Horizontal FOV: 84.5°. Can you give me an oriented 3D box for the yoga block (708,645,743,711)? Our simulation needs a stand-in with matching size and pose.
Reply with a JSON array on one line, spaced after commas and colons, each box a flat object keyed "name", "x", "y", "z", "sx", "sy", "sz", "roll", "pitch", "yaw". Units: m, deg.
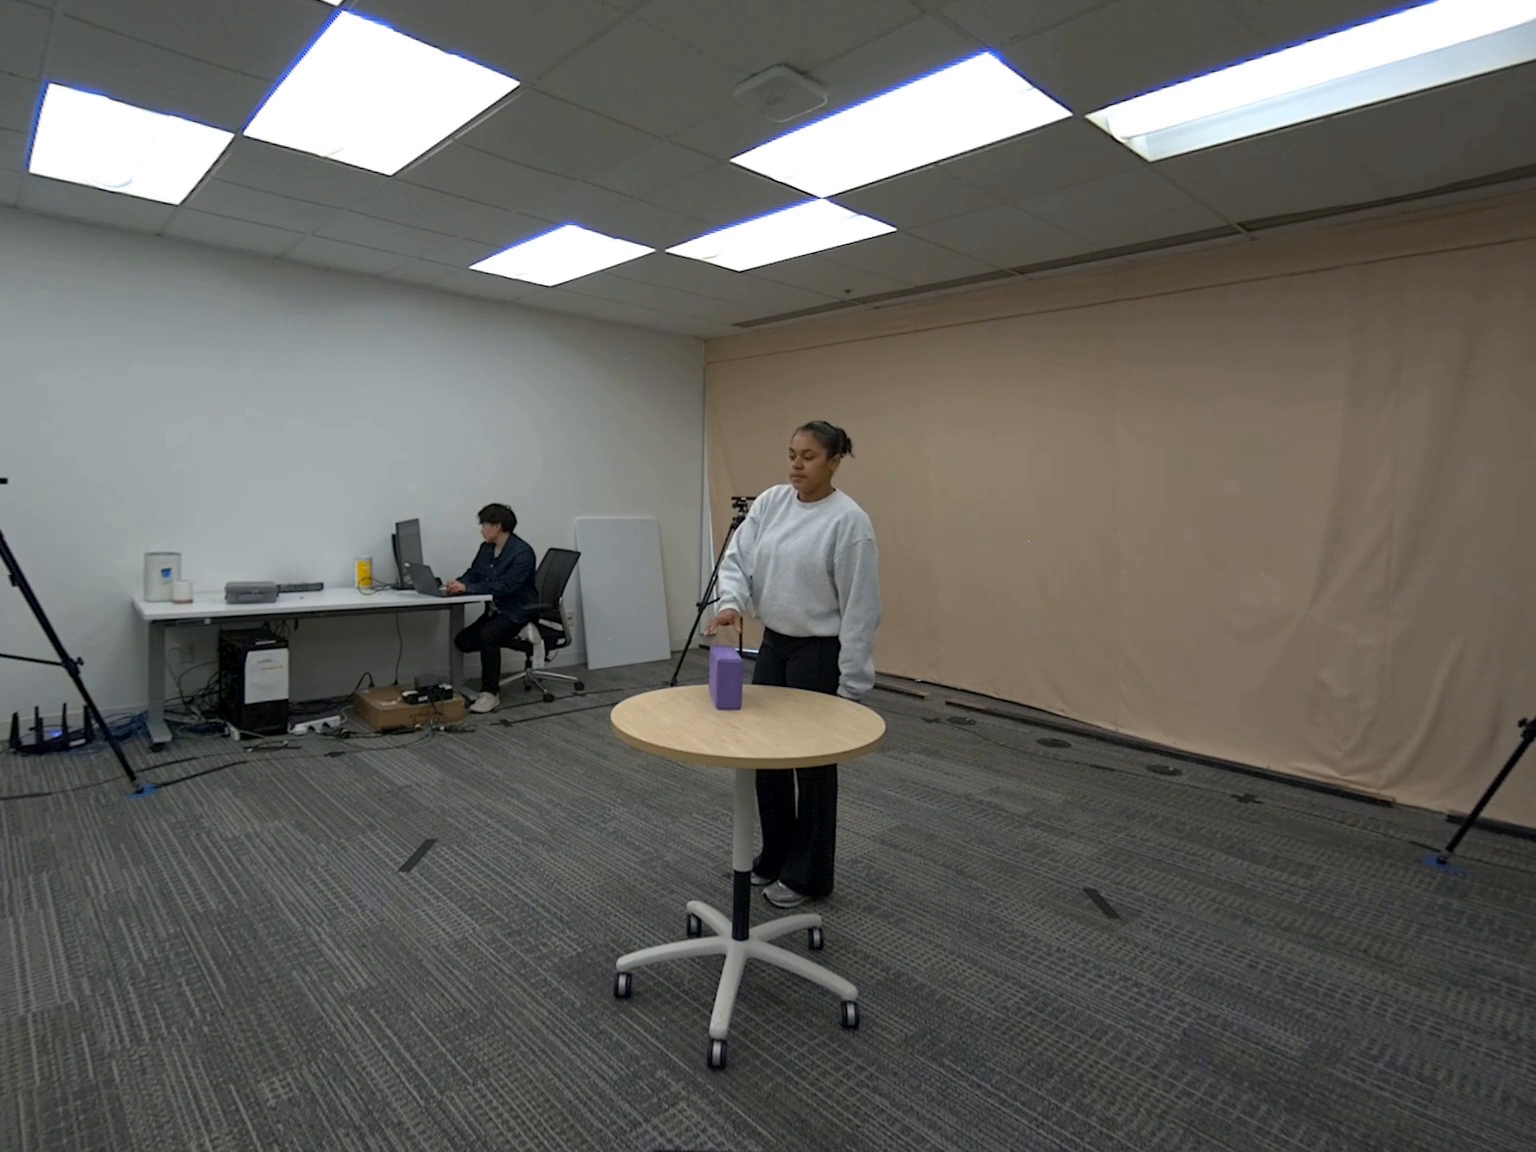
[{"name": "yoga block", "x": -0.133, "y": 0.303, "z": 2.518, "sx": 0.076, "sy": 0.148, "sz": 0.231, "roll": 1, "pitch": 5, "yaw": -7}]
